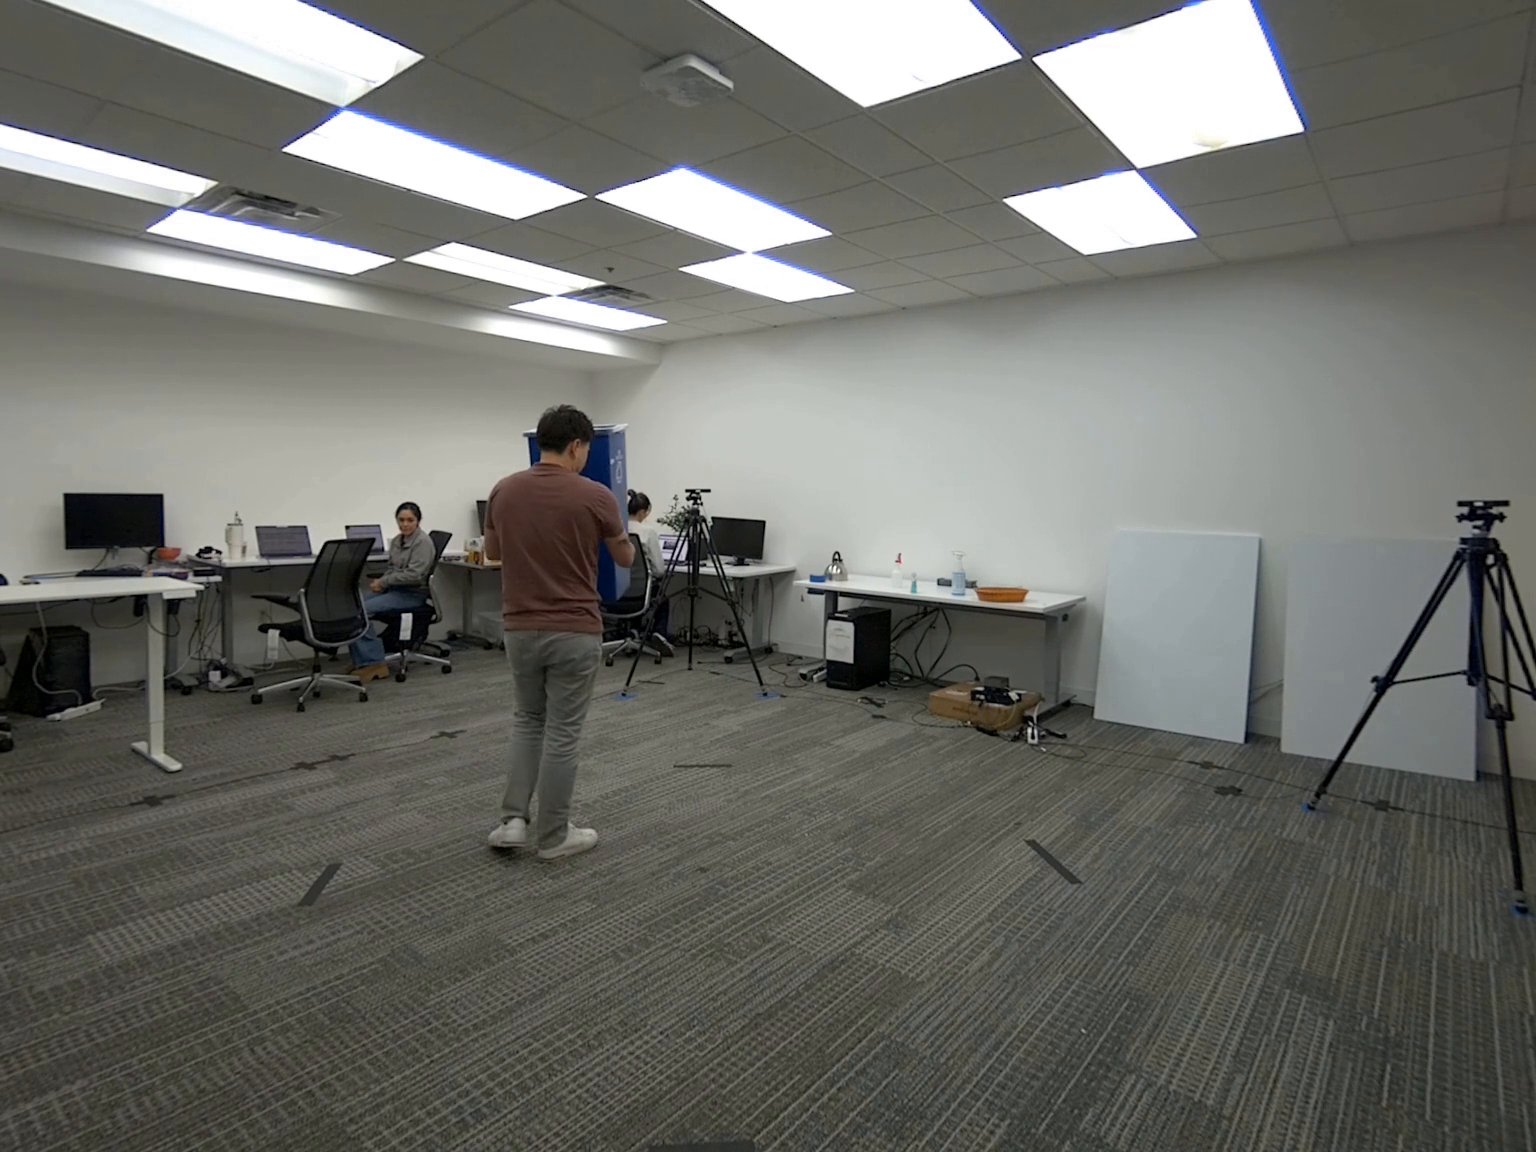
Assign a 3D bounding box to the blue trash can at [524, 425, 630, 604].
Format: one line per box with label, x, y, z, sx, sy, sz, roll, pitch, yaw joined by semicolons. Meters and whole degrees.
blue trash can;-0.800;-0.279;3.607;0.380;0.706;0.376;0;11;5
